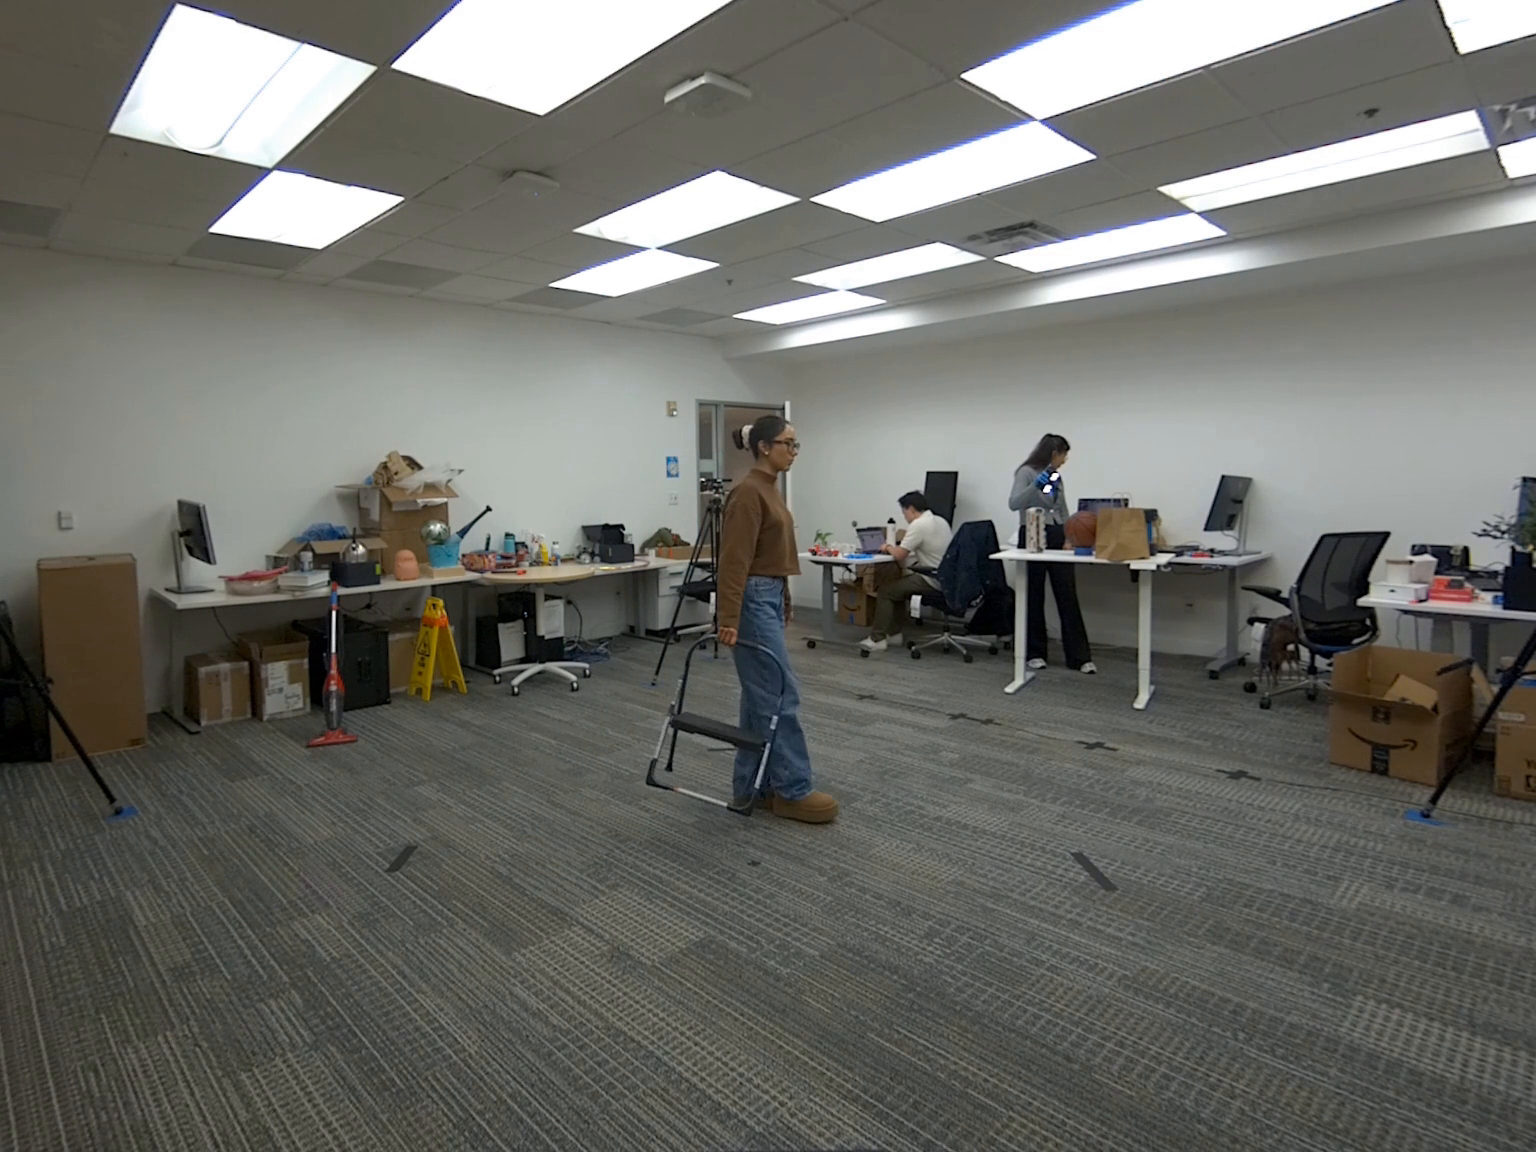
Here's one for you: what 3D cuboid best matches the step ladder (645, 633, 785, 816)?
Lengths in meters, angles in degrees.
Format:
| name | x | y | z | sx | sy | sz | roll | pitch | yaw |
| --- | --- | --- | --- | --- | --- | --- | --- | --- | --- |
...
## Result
| name | x | y | z | sx | sy | sz | roll | pitch | yaw |
| --- | --- | --- | --- | --- | --- | --- | --- | --- | --- |
| step ladder | -0.166 | 0.548 | 3.312 | 0.436 | 0.607 | 0.344 | 13 | -2 | 11 |
